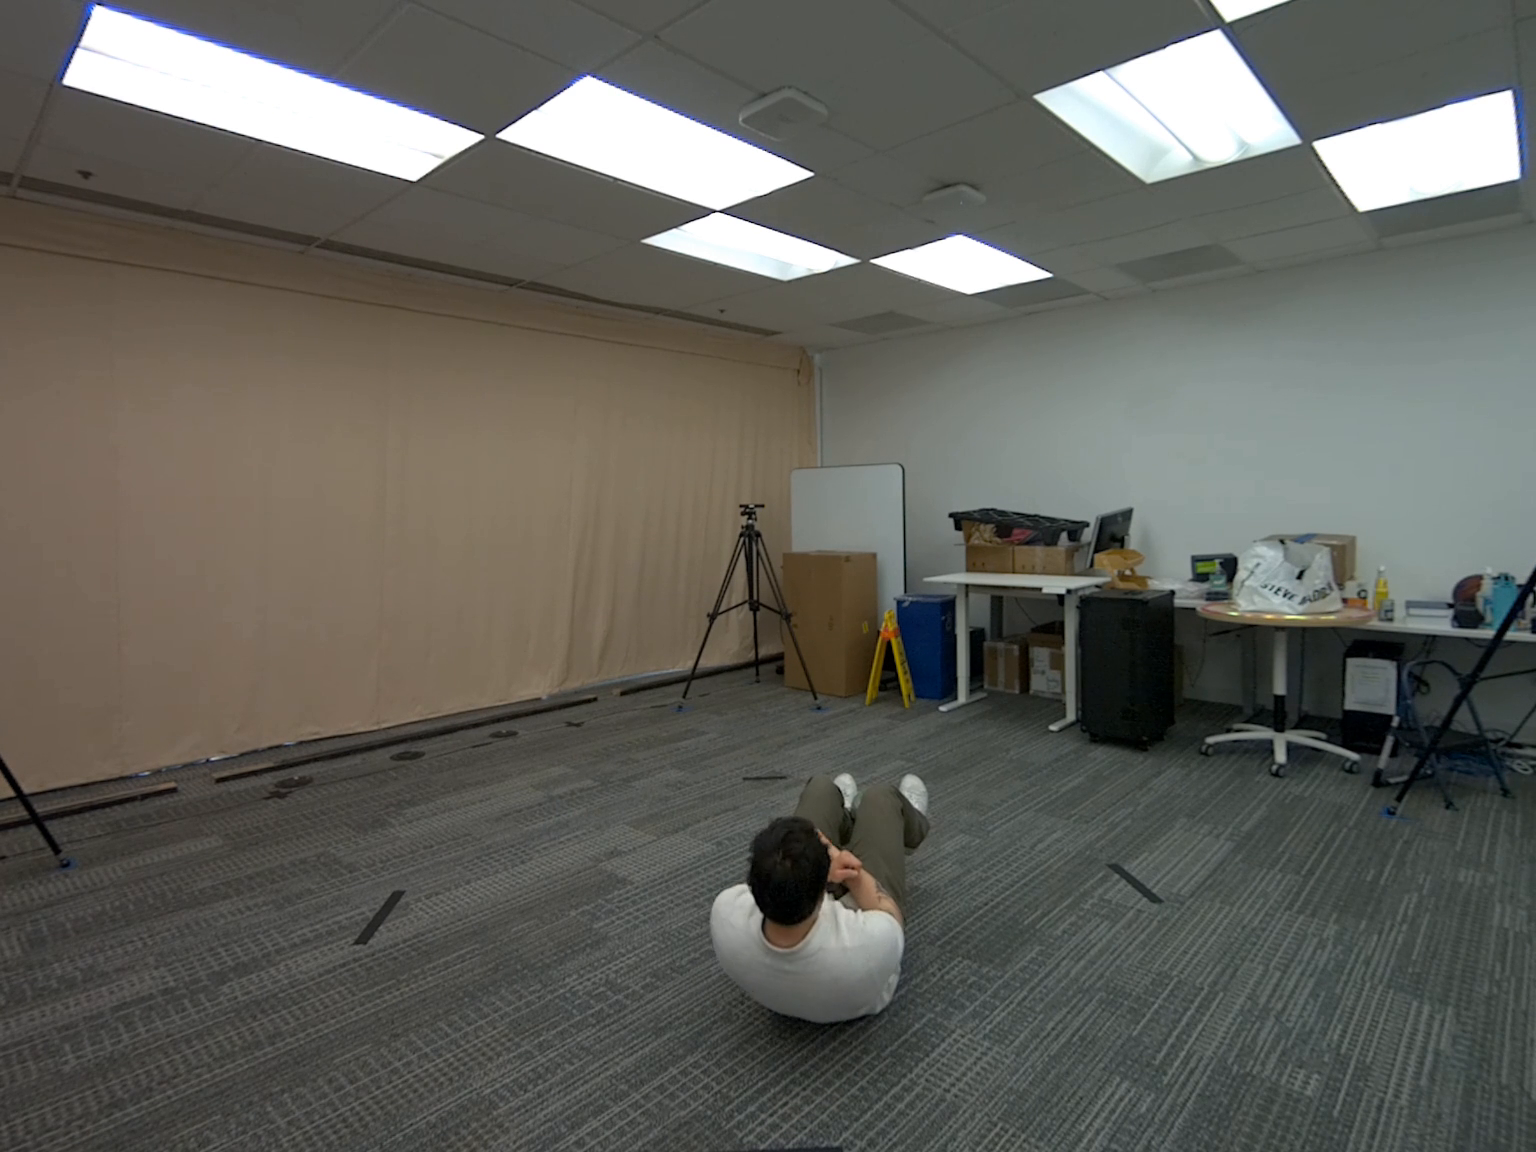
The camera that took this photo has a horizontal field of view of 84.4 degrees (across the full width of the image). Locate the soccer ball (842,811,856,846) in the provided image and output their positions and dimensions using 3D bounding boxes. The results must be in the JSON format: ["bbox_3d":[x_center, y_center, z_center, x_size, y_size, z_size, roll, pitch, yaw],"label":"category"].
[{"bbox_3d":[0.403,0.846,2.993,0.187,0.187,0.188,-1,4,-2],"label":"soccer ball"}]
